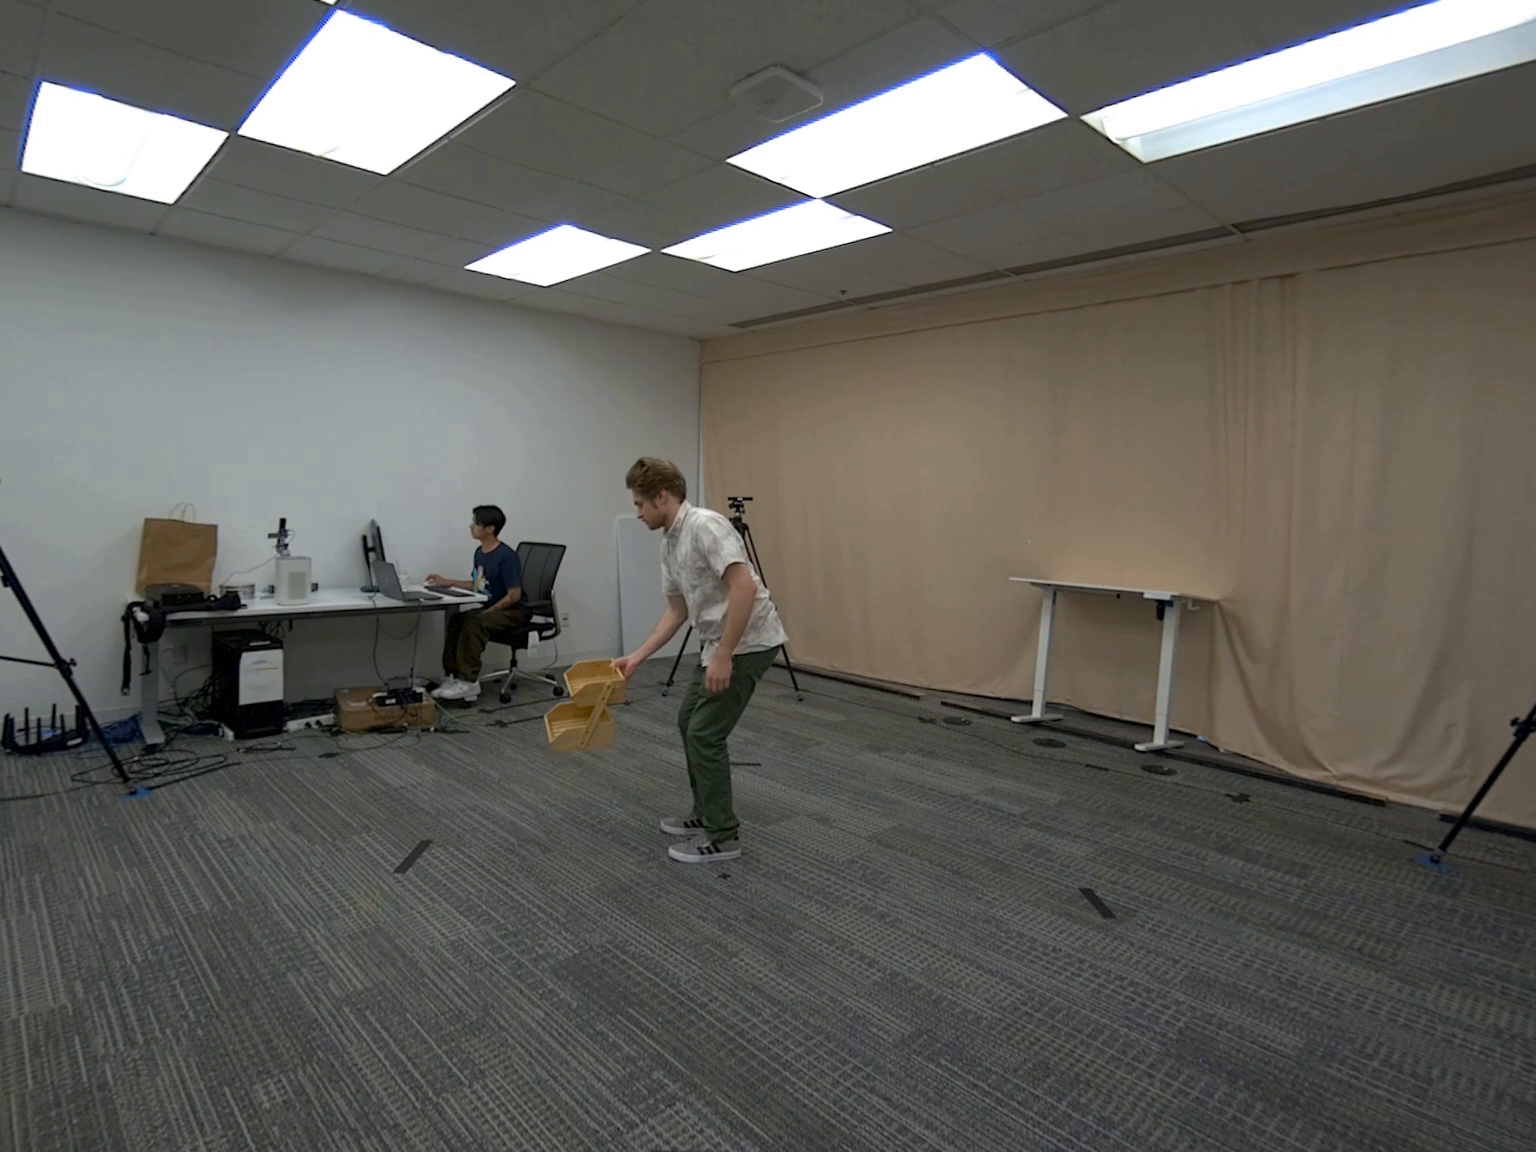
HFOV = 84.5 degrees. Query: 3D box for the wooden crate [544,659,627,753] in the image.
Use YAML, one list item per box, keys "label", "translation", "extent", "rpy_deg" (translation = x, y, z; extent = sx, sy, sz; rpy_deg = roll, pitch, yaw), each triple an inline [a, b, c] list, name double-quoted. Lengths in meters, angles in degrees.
- label: "wooden crate"
  translation: [-0.749, 0.509, 3.396]
  extent: [0.298, 0.271, 0.331]
  rpy_deg: [-5, 11, -17]
